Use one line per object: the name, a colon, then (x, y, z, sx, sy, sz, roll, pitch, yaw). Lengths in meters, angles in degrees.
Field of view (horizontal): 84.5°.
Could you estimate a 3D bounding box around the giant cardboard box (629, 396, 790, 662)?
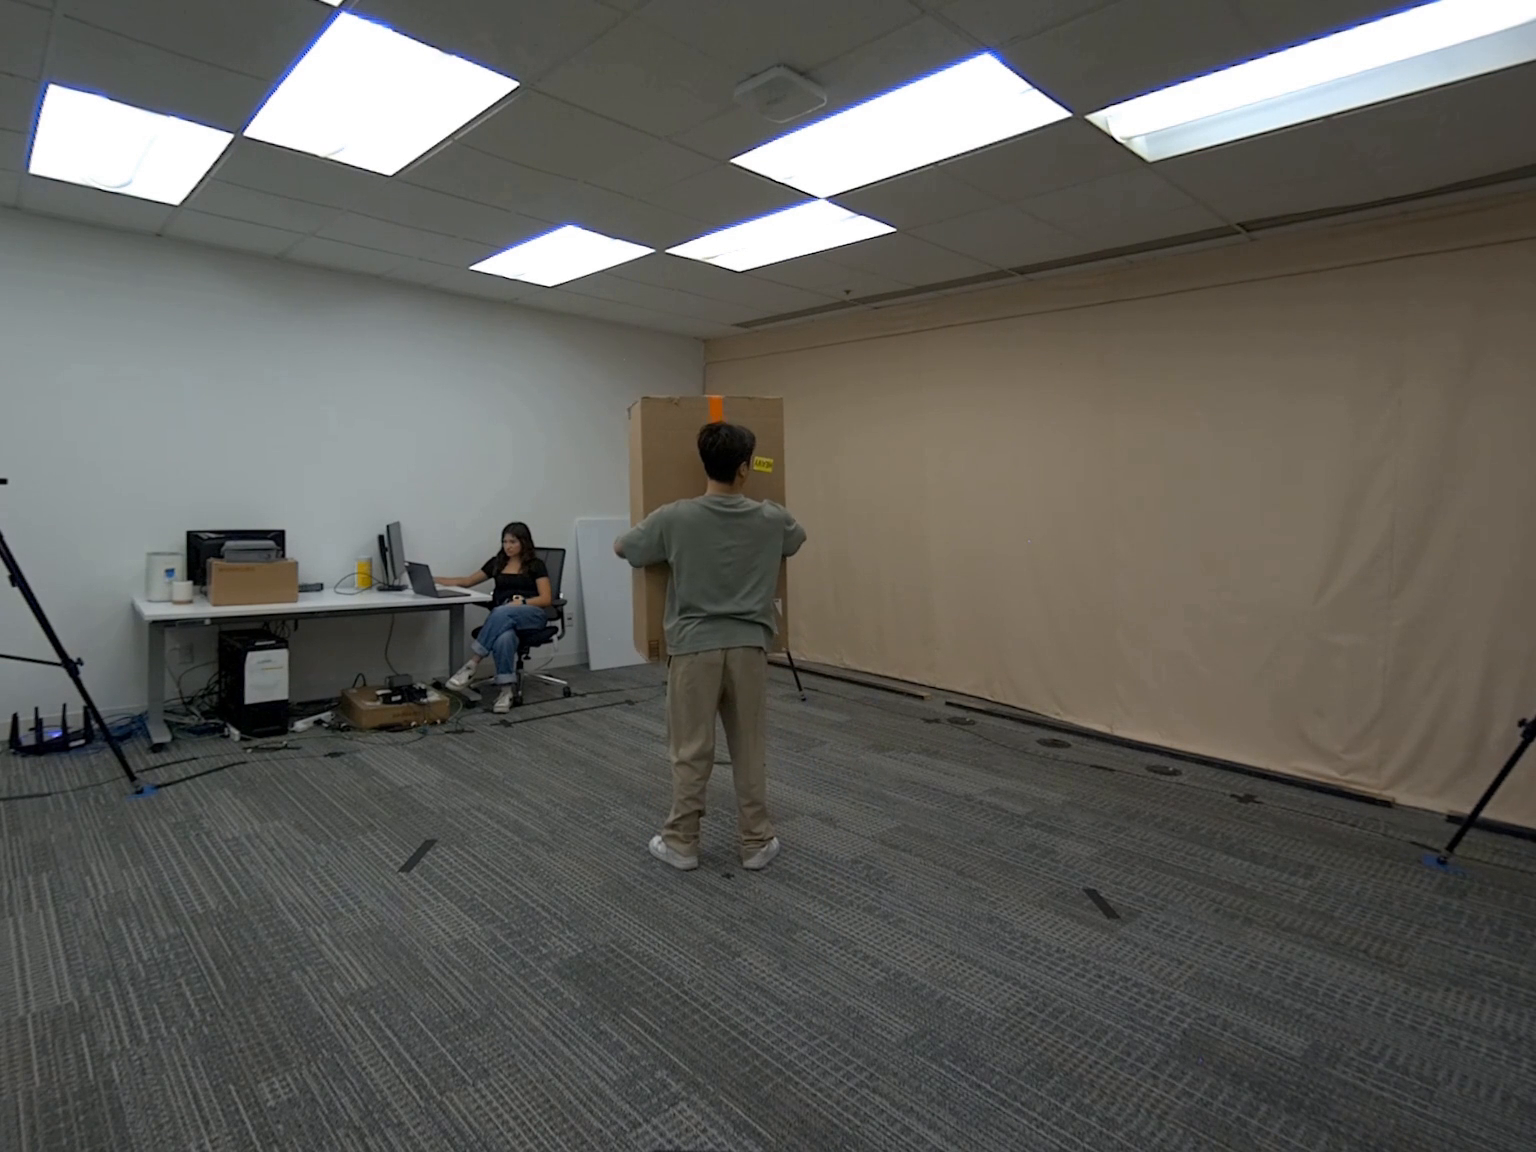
giant cardboard box: (-0.269, -0.207, 3.481, 0.571, 1.023, 0.432, -2, 4, -14)
